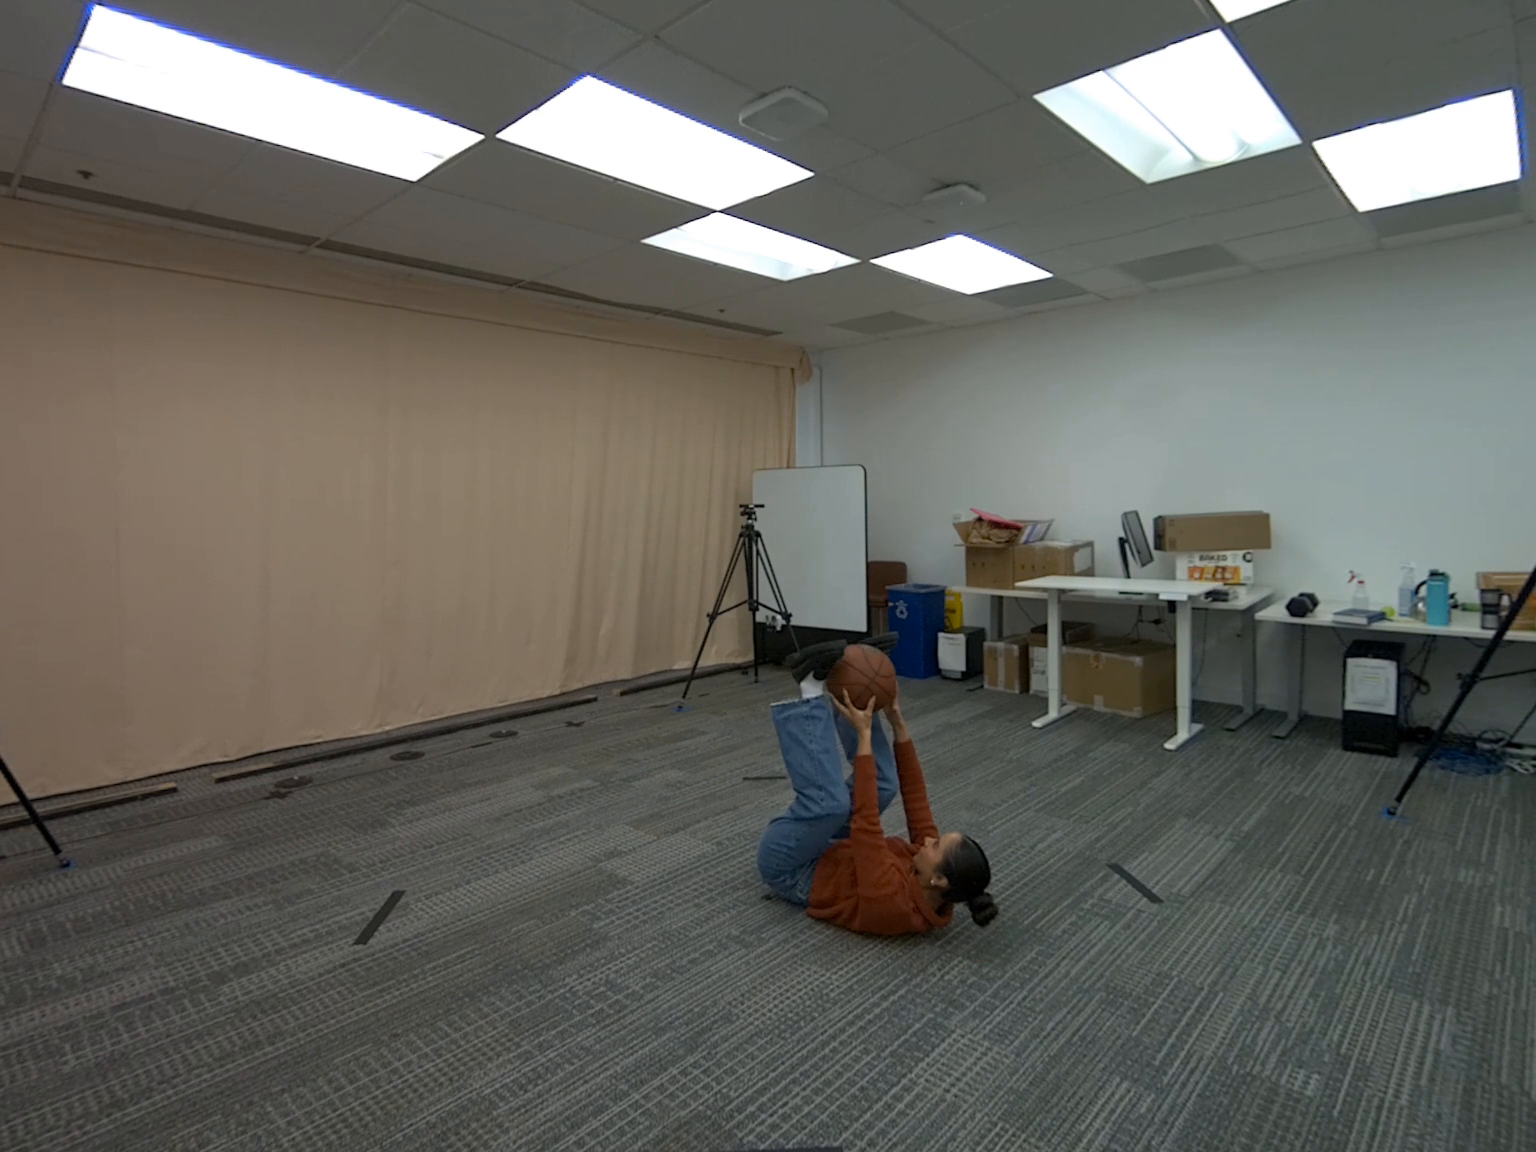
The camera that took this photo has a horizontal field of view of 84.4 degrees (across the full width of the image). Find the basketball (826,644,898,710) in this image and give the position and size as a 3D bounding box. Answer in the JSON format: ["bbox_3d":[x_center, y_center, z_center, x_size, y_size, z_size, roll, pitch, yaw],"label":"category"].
[{"bbox_3d":[0.326,0.352,2.847,0.235,0.235,0.237,2,5,-2],"label":"basketball"}]
